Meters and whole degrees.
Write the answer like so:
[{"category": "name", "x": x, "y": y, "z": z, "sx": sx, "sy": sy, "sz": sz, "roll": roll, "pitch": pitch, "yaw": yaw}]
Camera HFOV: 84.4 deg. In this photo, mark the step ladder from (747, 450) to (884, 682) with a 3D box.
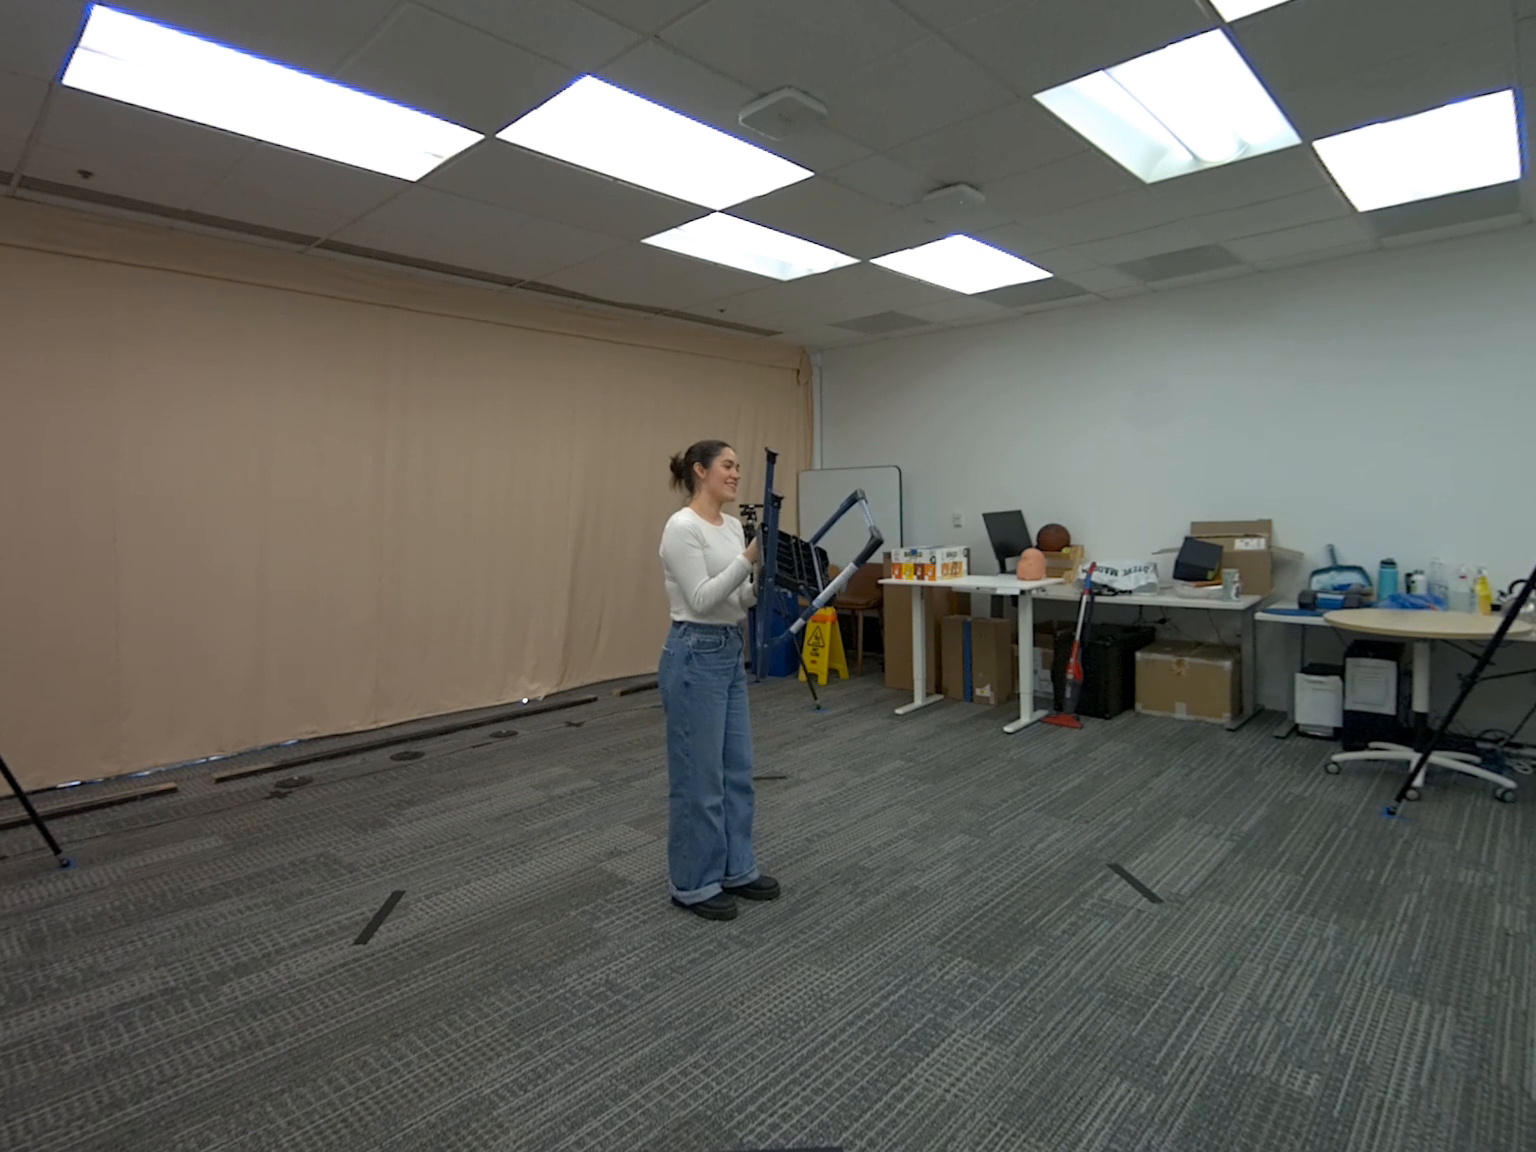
[{"category": "step ladder", "x": 0.045, "y": 0.008, "z": 2.577, "sx": 0.346, "sy": 0.605, "sz": 0.435, "roll": 25, "pitch": 24, "yaw": -8}]
